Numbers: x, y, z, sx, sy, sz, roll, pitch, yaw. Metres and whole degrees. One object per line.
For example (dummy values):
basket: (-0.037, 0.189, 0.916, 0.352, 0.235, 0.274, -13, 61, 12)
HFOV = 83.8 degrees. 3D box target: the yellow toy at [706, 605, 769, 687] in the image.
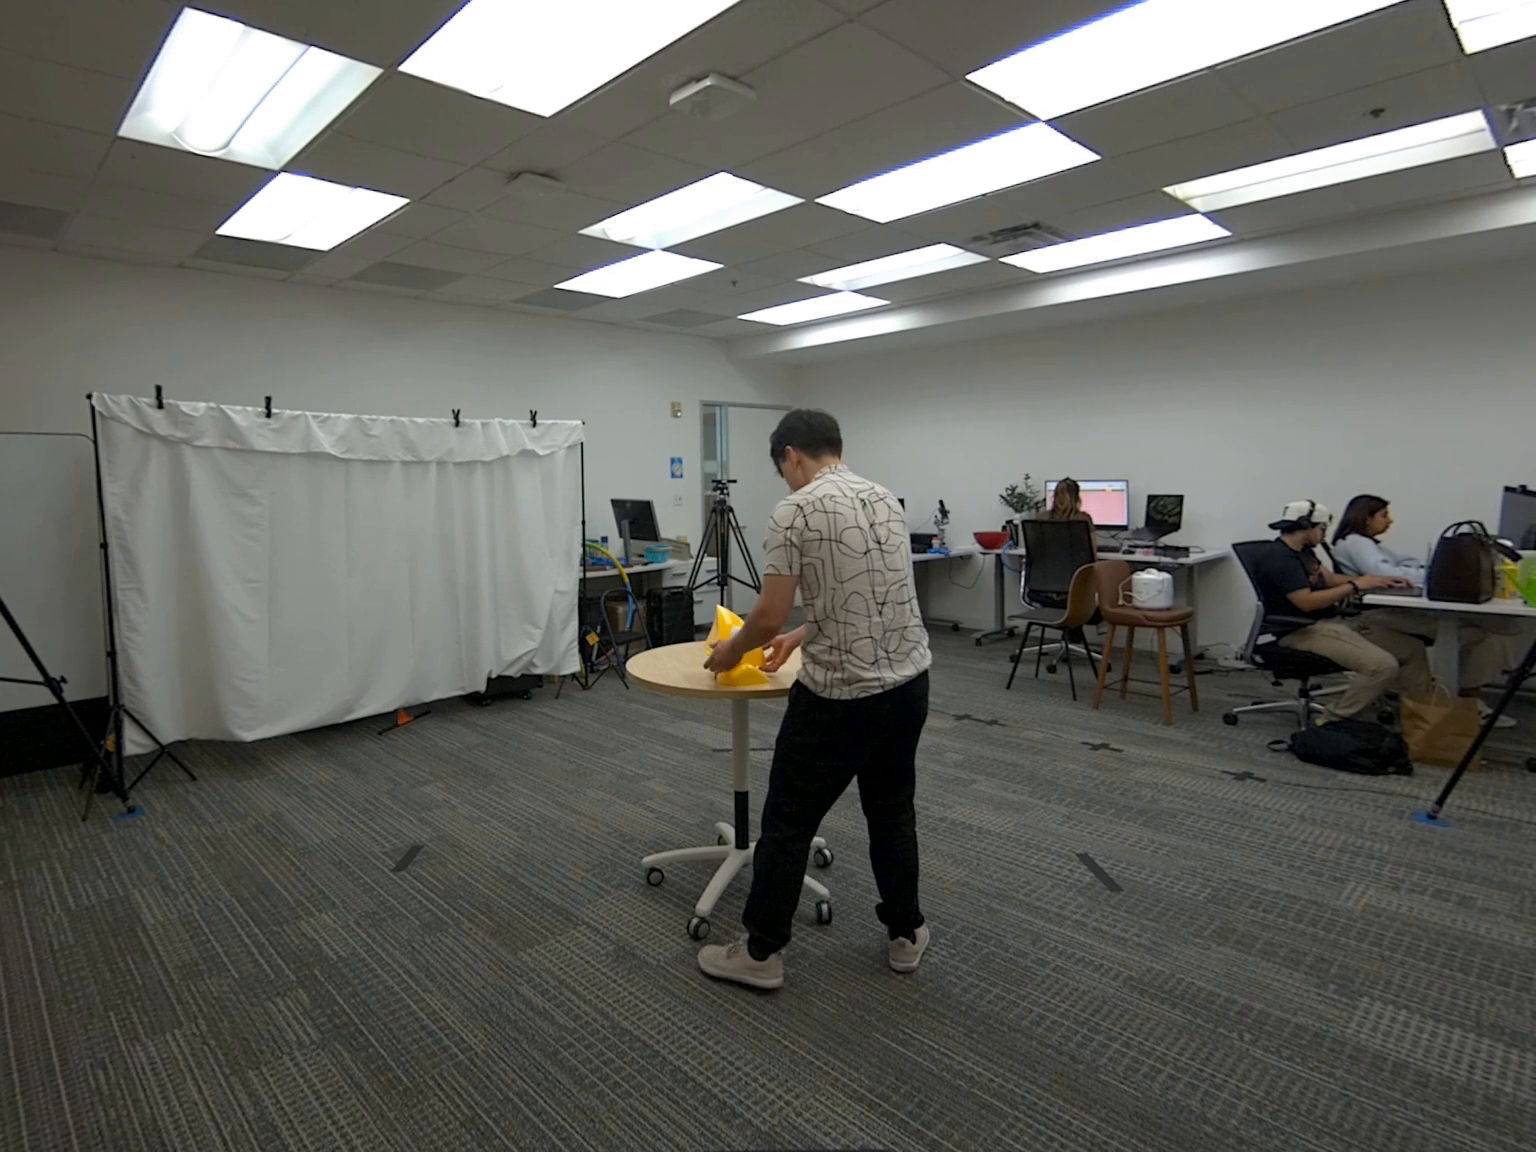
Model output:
yellow toy: (-0.097, 0.203, 2.665, 0.191, 0.230, 0.207, -1, 5, -9)
